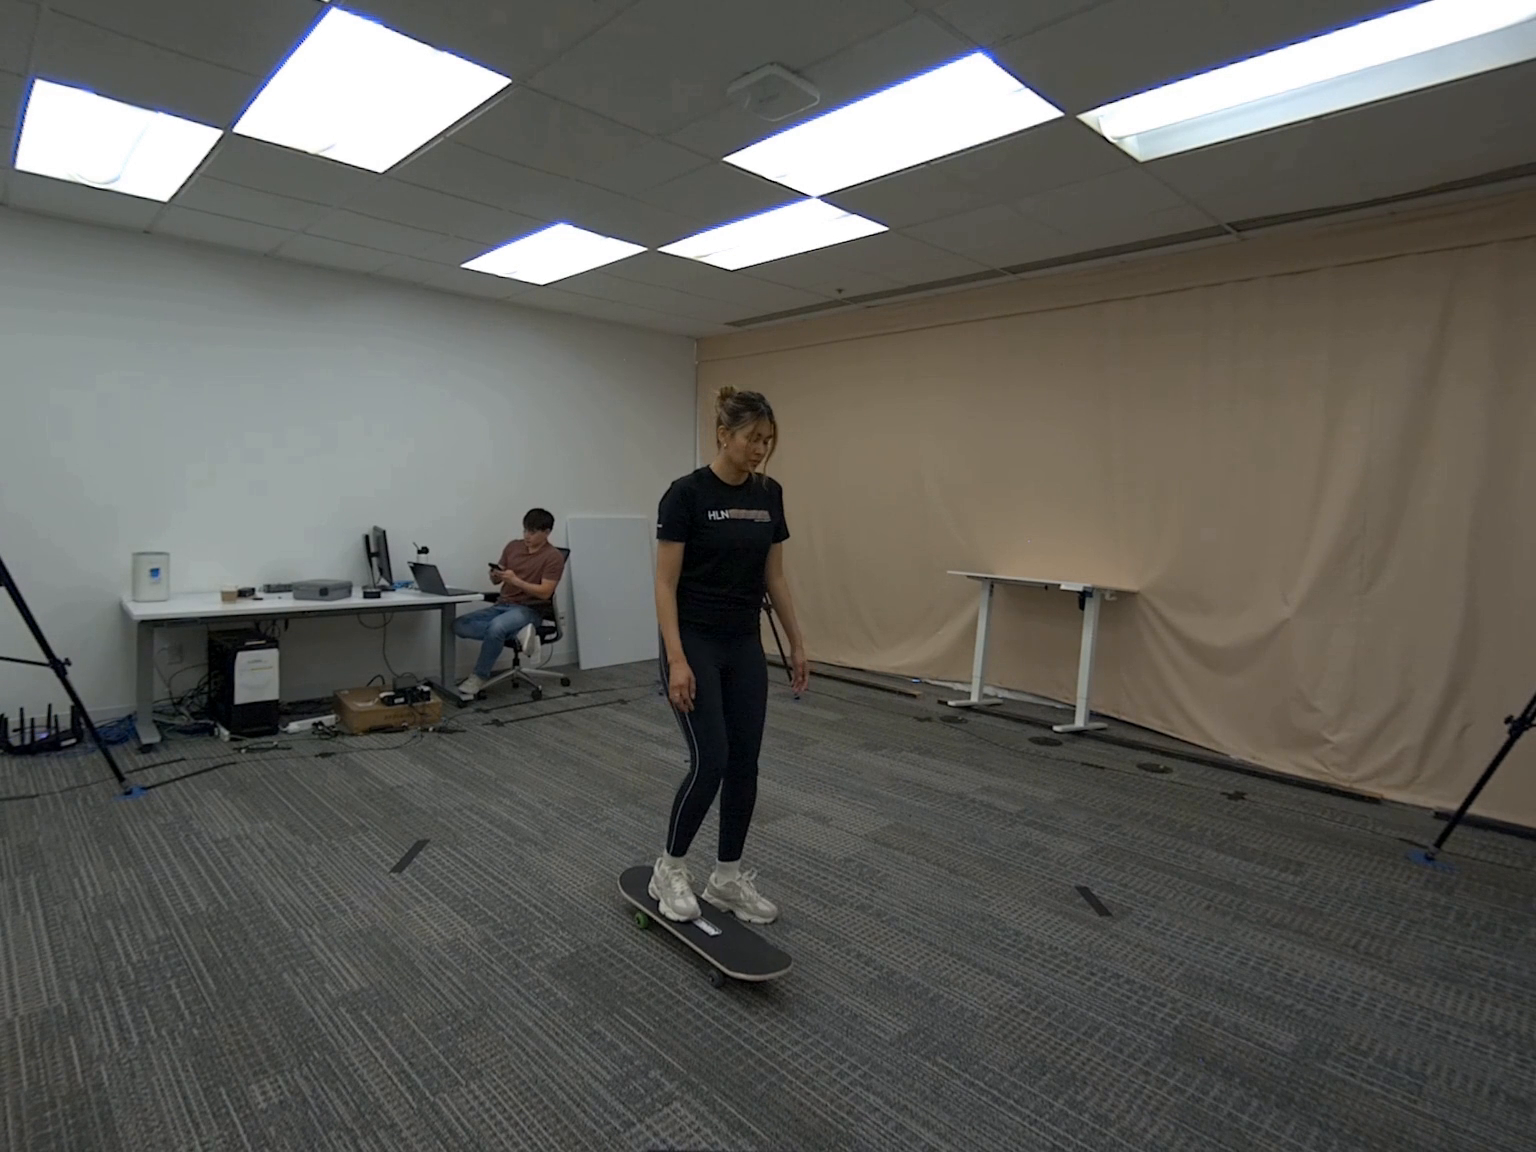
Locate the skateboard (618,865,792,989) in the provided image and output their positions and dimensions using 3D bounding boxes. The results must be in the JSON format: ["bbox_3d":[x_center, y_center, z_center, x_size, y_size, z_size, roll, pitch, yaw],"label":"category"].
[{"bbox_3d":[-0.211,1.101,2.582,0.189,0.110,0.806,-4,7,-39],"label":"skateboard"}]
